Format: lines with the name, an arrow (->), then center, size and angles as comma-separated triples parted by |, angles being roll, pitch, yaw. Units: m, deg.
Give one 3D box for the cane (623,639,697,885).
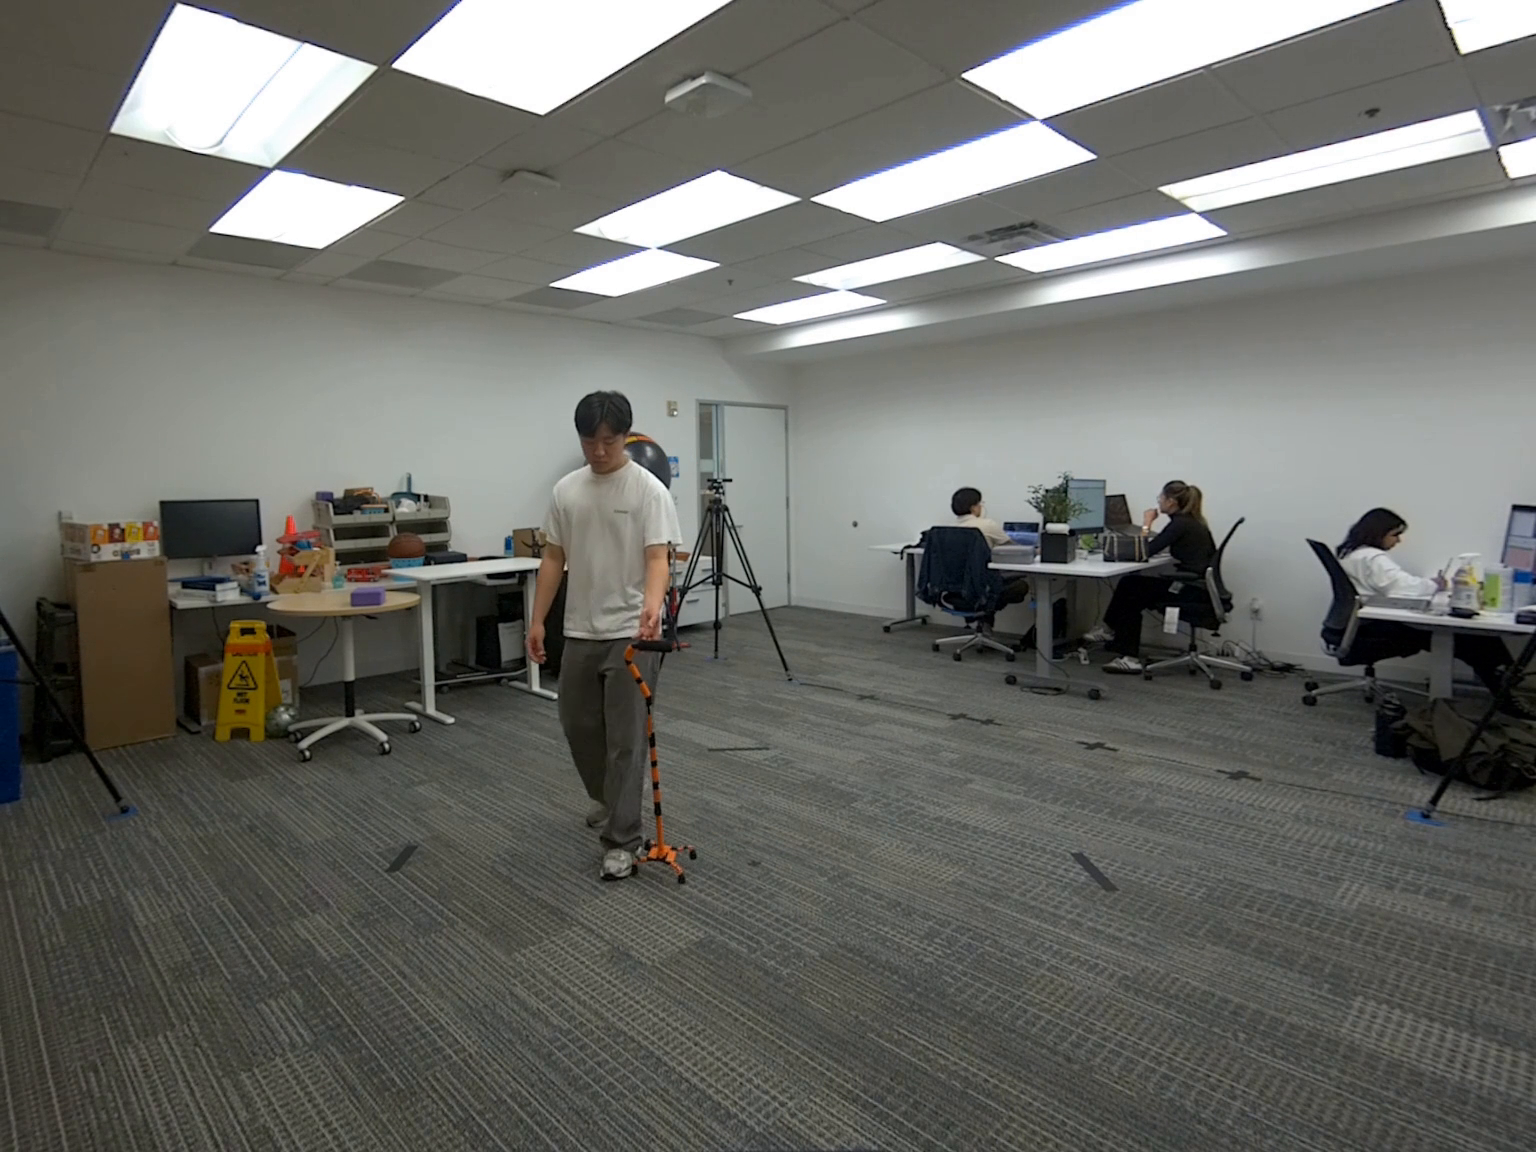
cane -> -0.374, 0.625, 2.881 | 0.209, 0.891, 0.152 | 2, 20, 11
